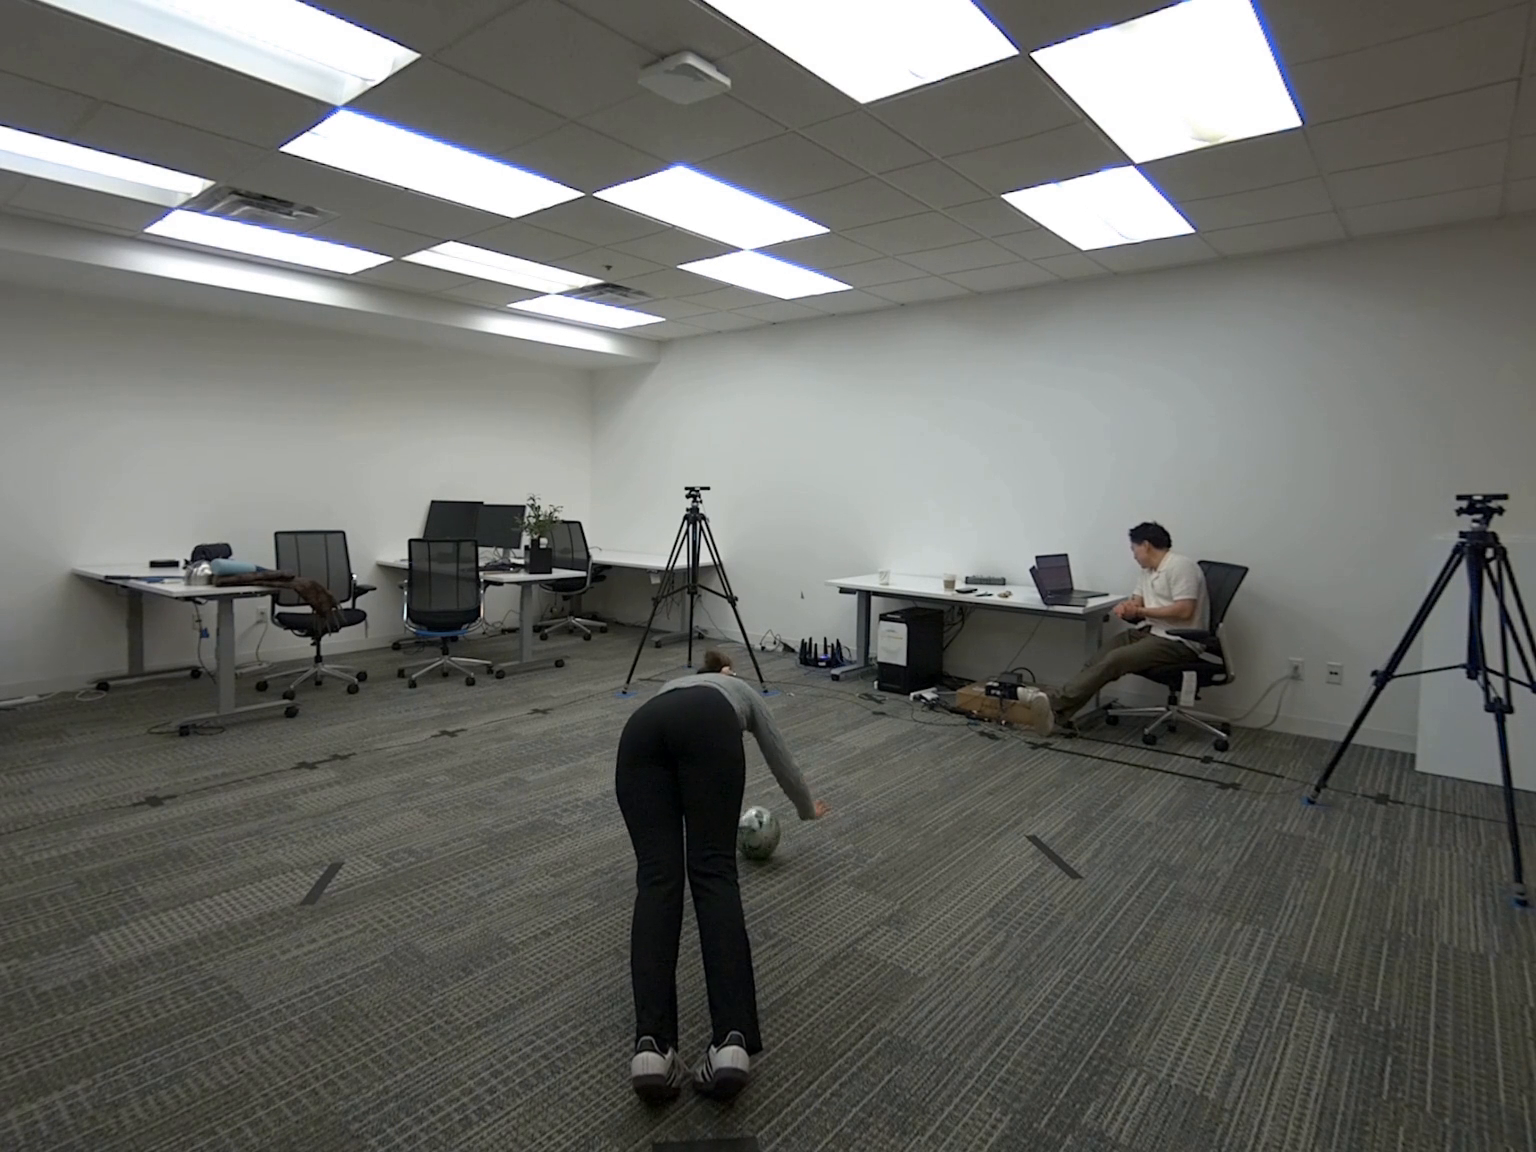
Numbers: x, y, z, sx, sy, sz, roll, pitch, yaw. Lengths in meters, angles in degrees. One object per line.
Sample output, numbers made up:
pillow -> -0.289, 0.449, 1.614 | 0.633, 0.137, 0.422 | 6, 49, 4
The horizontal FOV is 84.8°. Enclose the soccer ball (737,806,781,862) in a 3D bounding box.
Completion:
soccer ball -> -0.050, 0.965, 3.203 | 0.187, 0.187, 0.188 | 1, 4, -2
